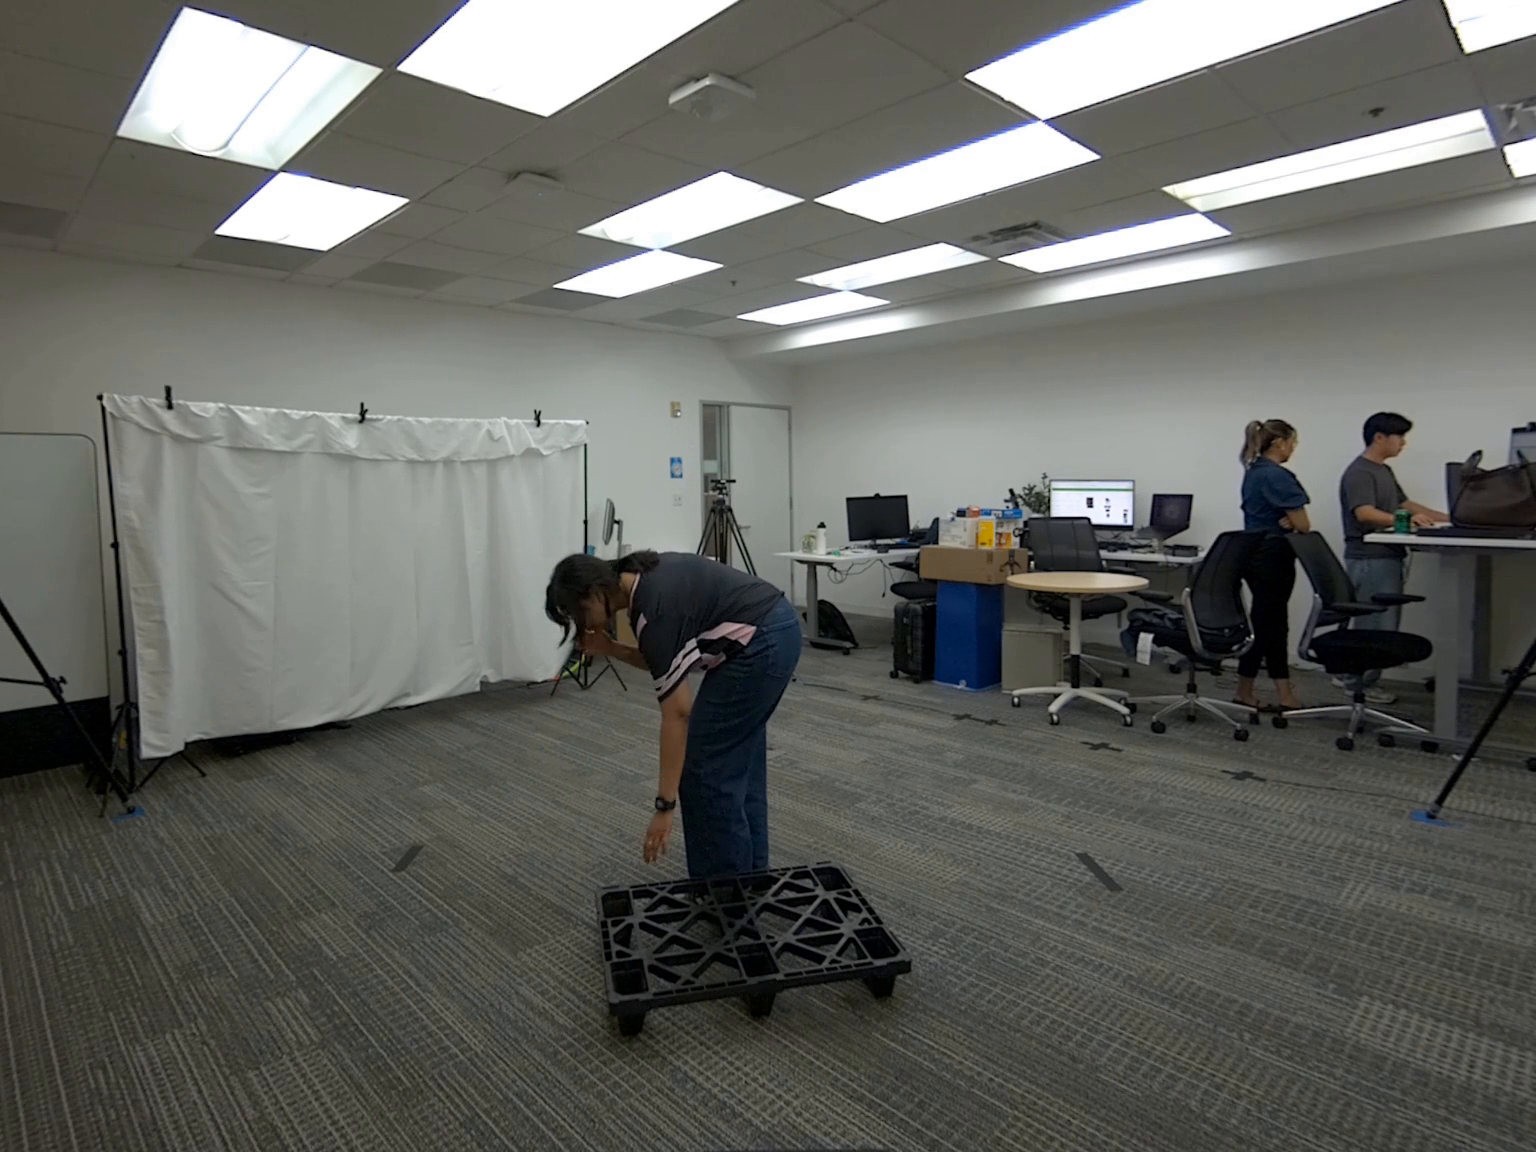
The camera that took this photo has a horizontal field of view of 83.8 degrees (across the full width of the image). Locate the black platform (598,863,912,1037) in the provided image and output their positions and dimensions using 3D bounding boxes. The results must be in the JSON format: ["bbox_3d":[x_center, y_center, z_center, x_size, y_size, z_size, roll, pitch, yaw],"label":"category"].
[{"bbox_3d":[-0.077,1.059,2.453,0.796,0.143,0.614,-2,6,-12],"label":"black platform"}]
